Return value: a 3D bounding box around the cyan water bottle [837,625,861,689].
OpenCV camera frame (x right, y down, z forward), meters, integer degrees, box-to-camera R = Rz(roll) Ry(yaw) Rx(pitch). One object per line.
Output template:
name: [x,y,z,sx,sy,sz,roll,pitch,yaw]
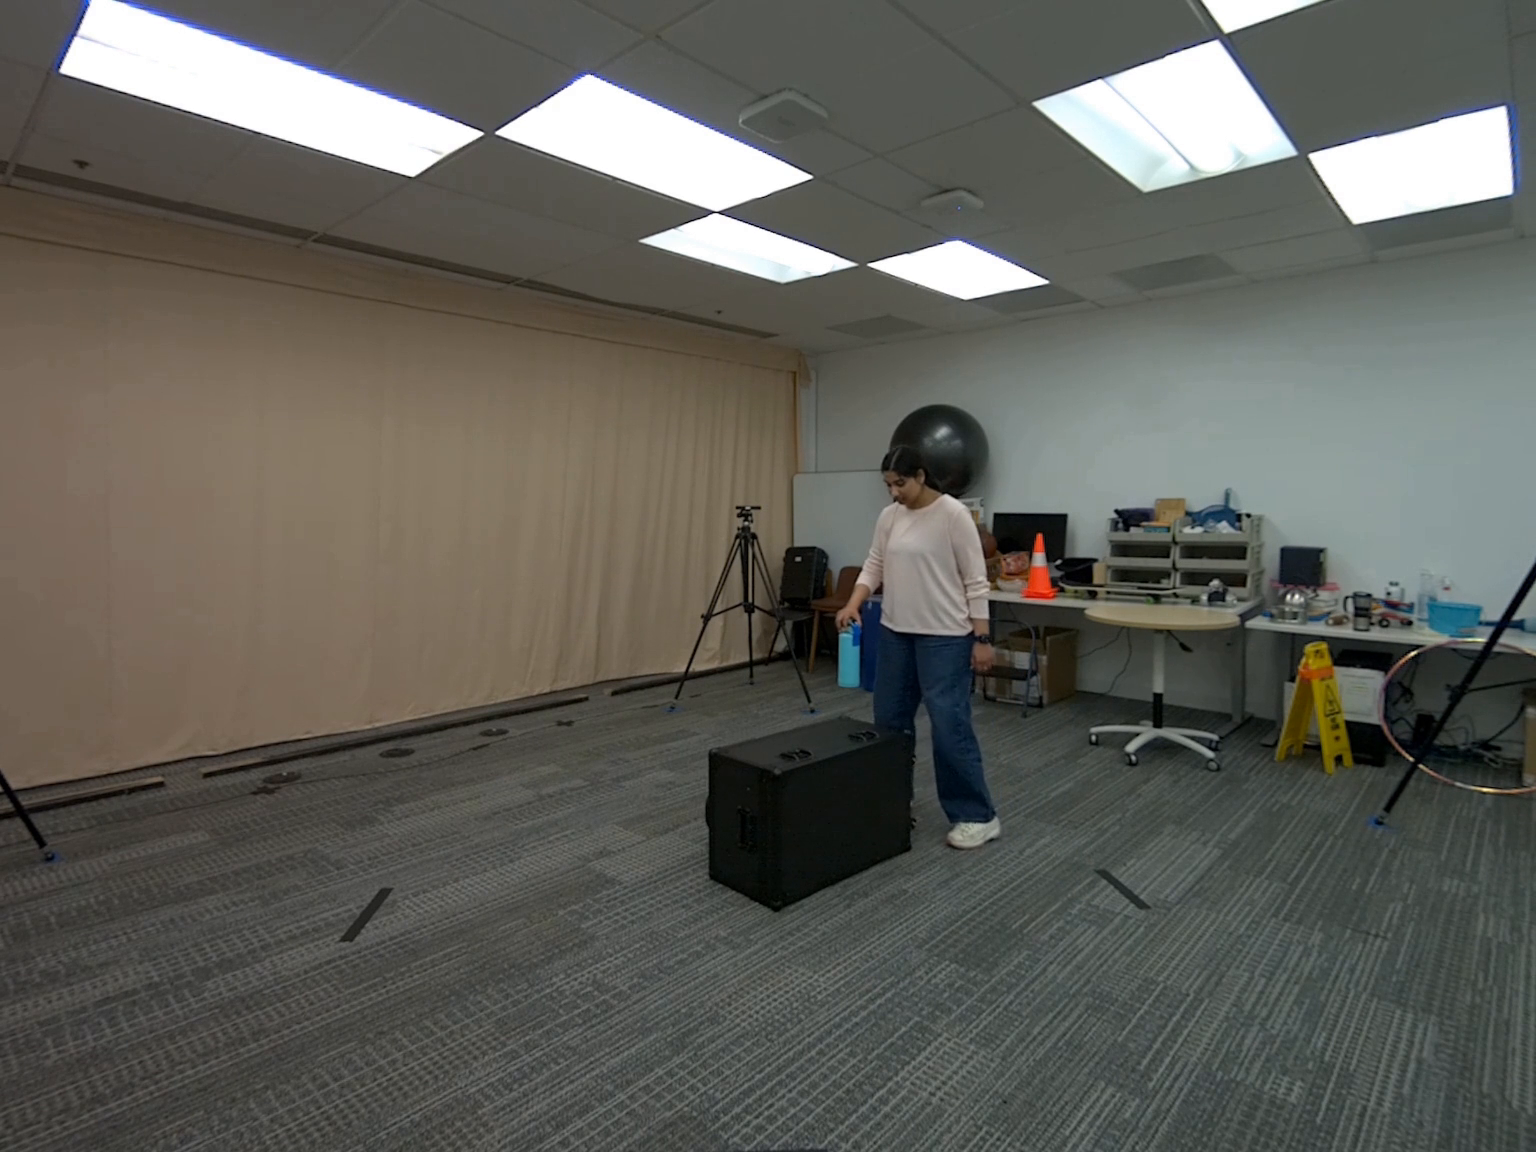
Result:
cyan water bottle: [0.360,0.333,3.602,0.092,0.283,0.092,1,0,-2]
